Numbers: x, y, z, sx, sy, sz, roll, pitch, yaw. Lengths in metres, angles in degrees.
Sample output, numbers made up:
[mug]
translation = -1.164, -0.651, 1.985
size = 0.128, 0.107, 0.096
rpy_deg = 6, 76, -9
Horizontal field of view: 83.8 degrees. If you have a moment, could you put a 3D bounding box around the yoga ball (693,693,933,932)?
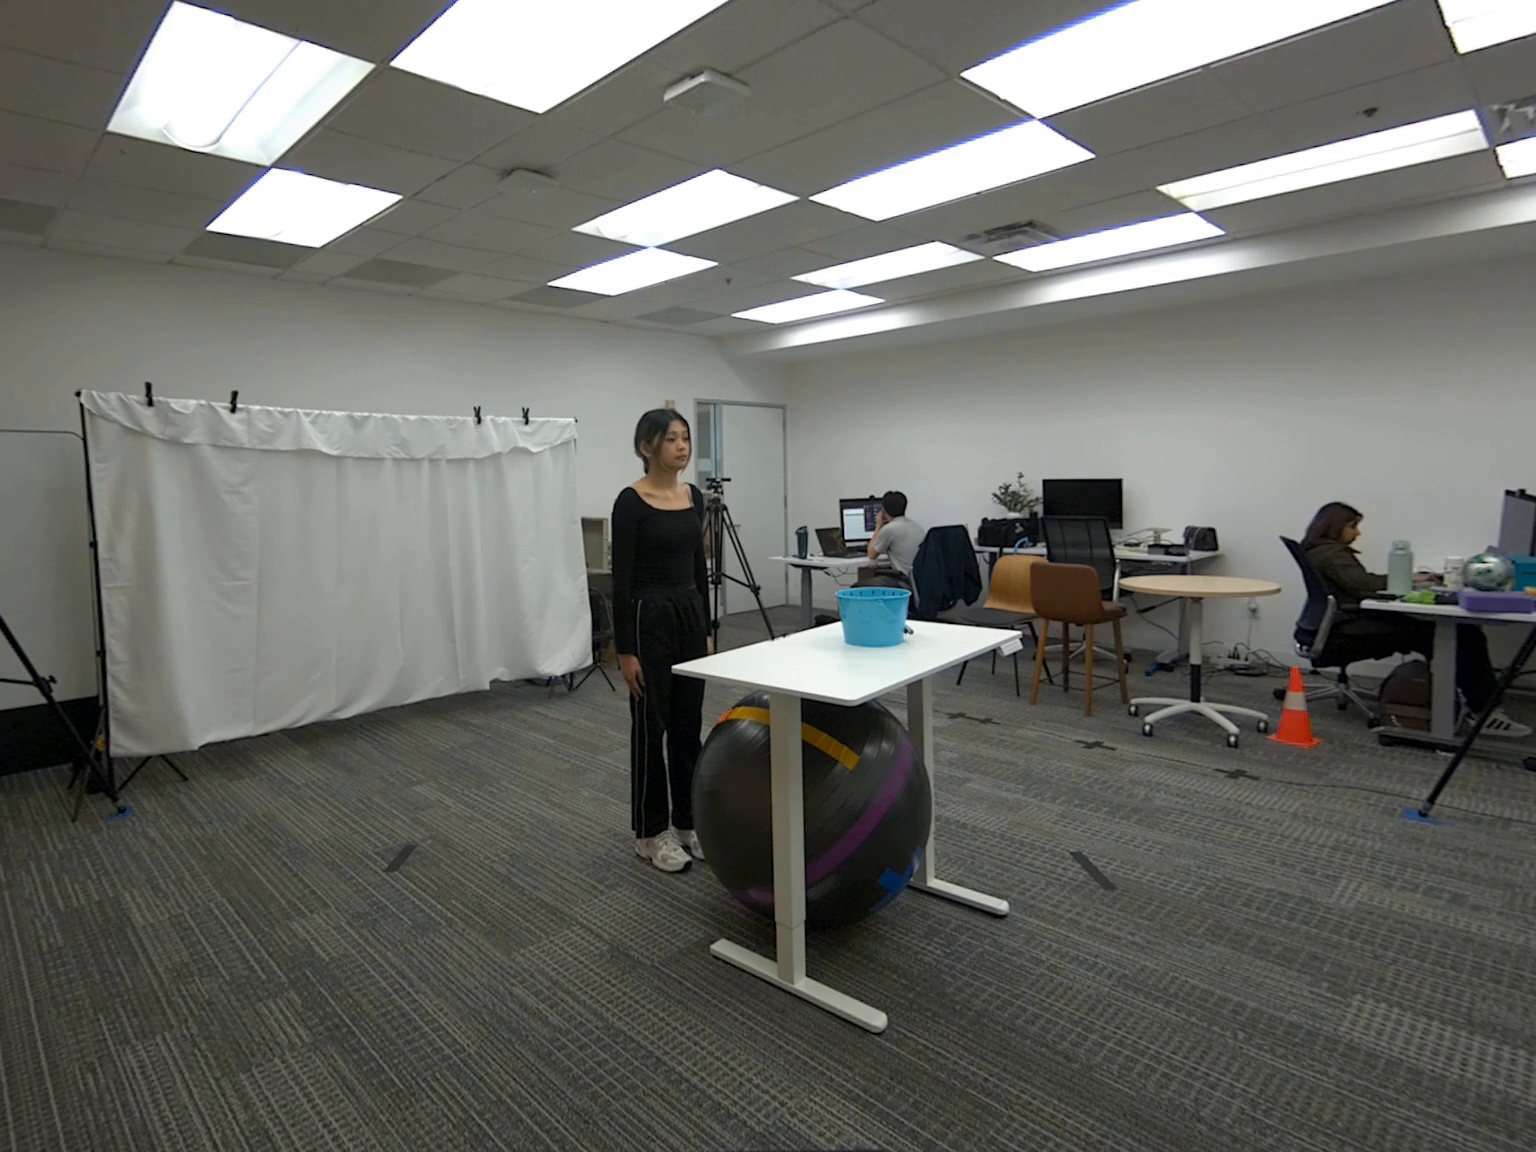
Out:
[yoga ball]
translation = 0.137, 0.722, 2.710
size = 0.757, 0.755, 0.762
rpy_deg = -1, 5, -2
